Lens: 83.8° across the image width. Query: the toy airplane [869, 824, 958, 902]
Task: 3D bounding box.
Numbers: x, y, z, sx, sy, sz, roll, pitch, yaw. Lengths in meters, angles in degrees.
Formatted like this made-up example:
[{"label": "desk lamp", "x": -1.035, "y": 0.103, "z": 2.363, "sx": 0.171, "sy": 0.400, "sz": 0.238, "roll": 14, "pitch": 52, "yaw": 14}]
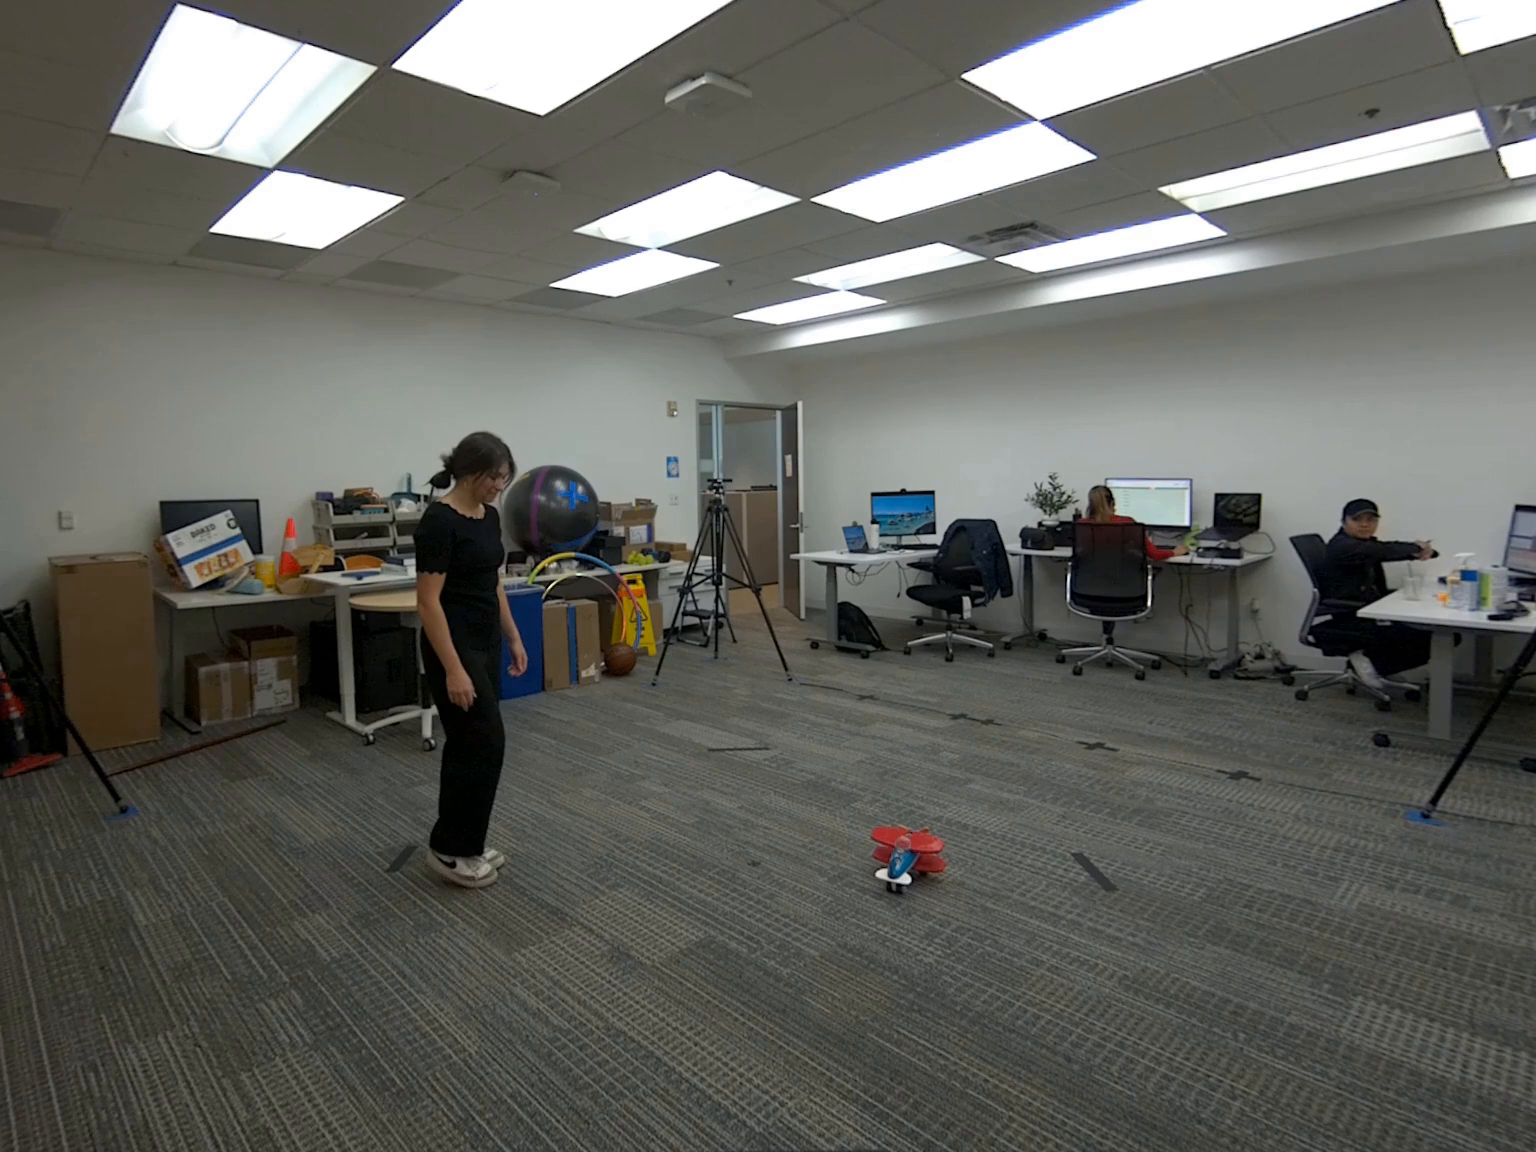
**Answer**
[{"label": "toy airplane", "x": 0.490, "y": 0.975, "z": 2.933, "sx": 0.252, "sy": 0.156, "sz": 0.259, "roll": -1, "pitch": 4, "yaw": 2}]
